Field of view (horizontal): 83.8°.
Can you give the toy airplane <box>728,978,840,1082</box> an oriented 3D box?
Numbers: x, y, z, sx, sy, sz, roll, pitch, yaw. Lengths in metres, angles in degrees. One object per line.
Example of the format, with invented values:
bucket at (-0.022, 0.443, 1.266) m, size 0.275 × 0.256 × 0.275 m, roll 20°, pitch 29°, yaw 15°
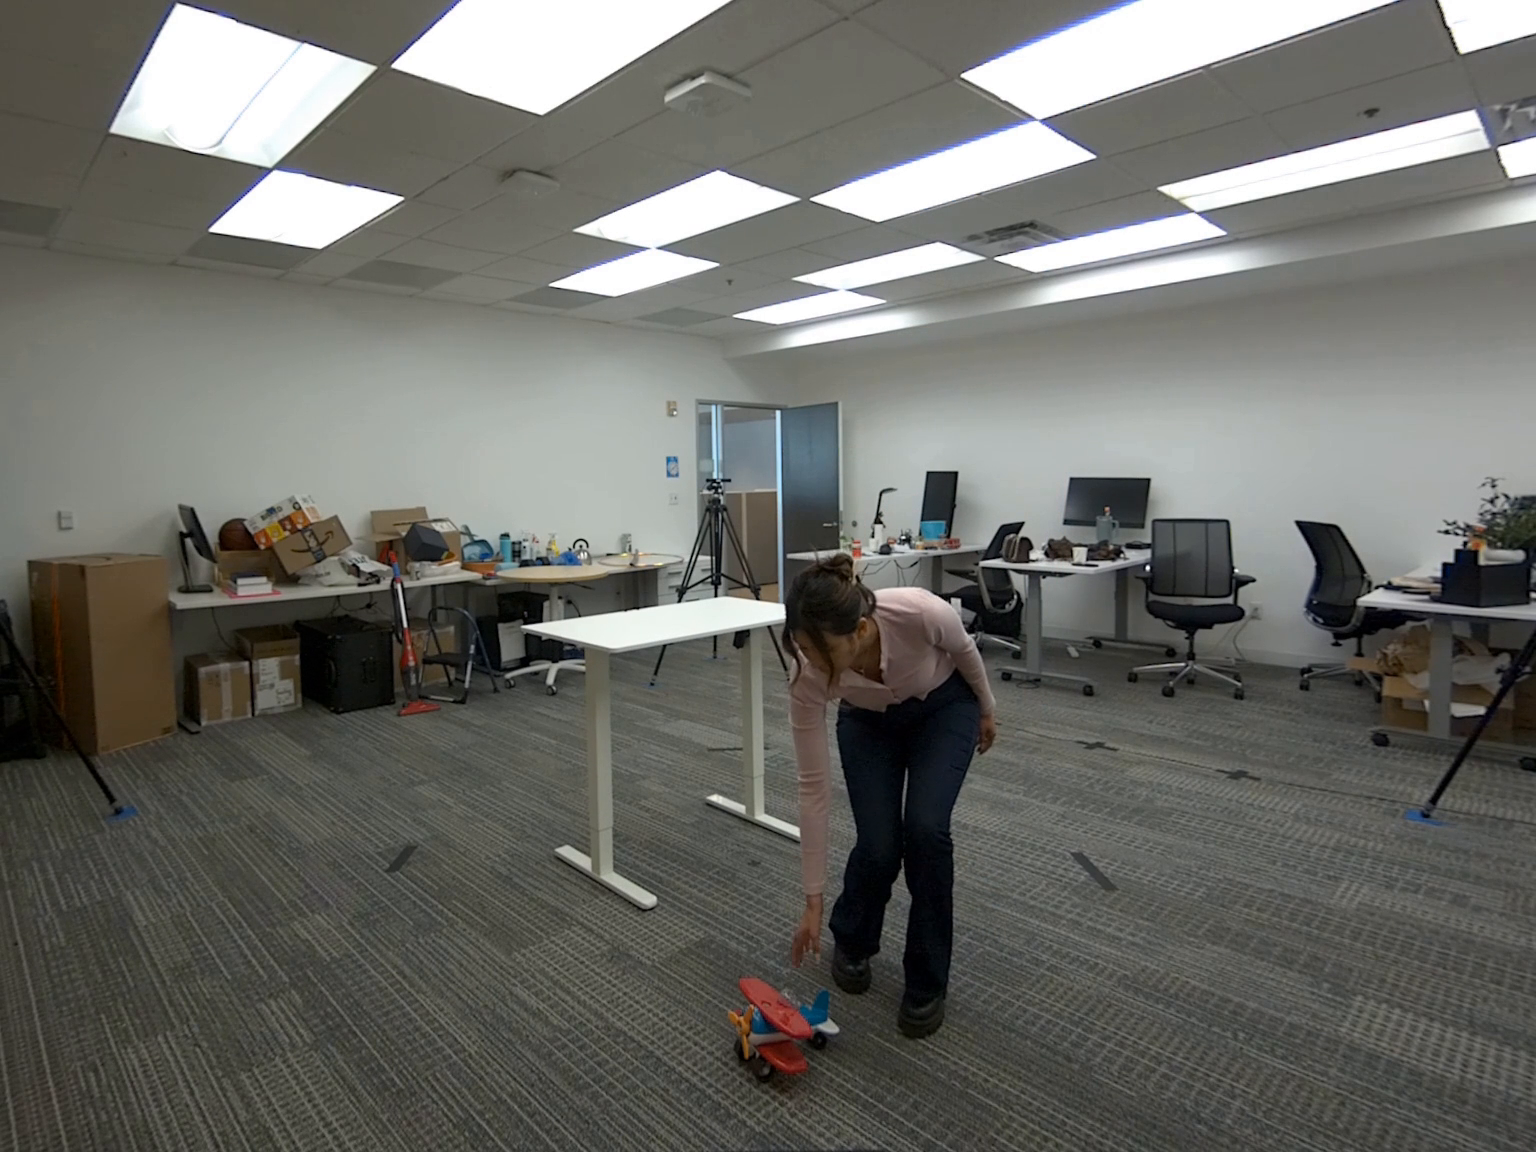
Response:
toy airplane at (0.034, 1.093, 2.075) m, size 0.258 × 0.155 × 0.254 m, roll 2°, pitch 9°, yaw 30°
